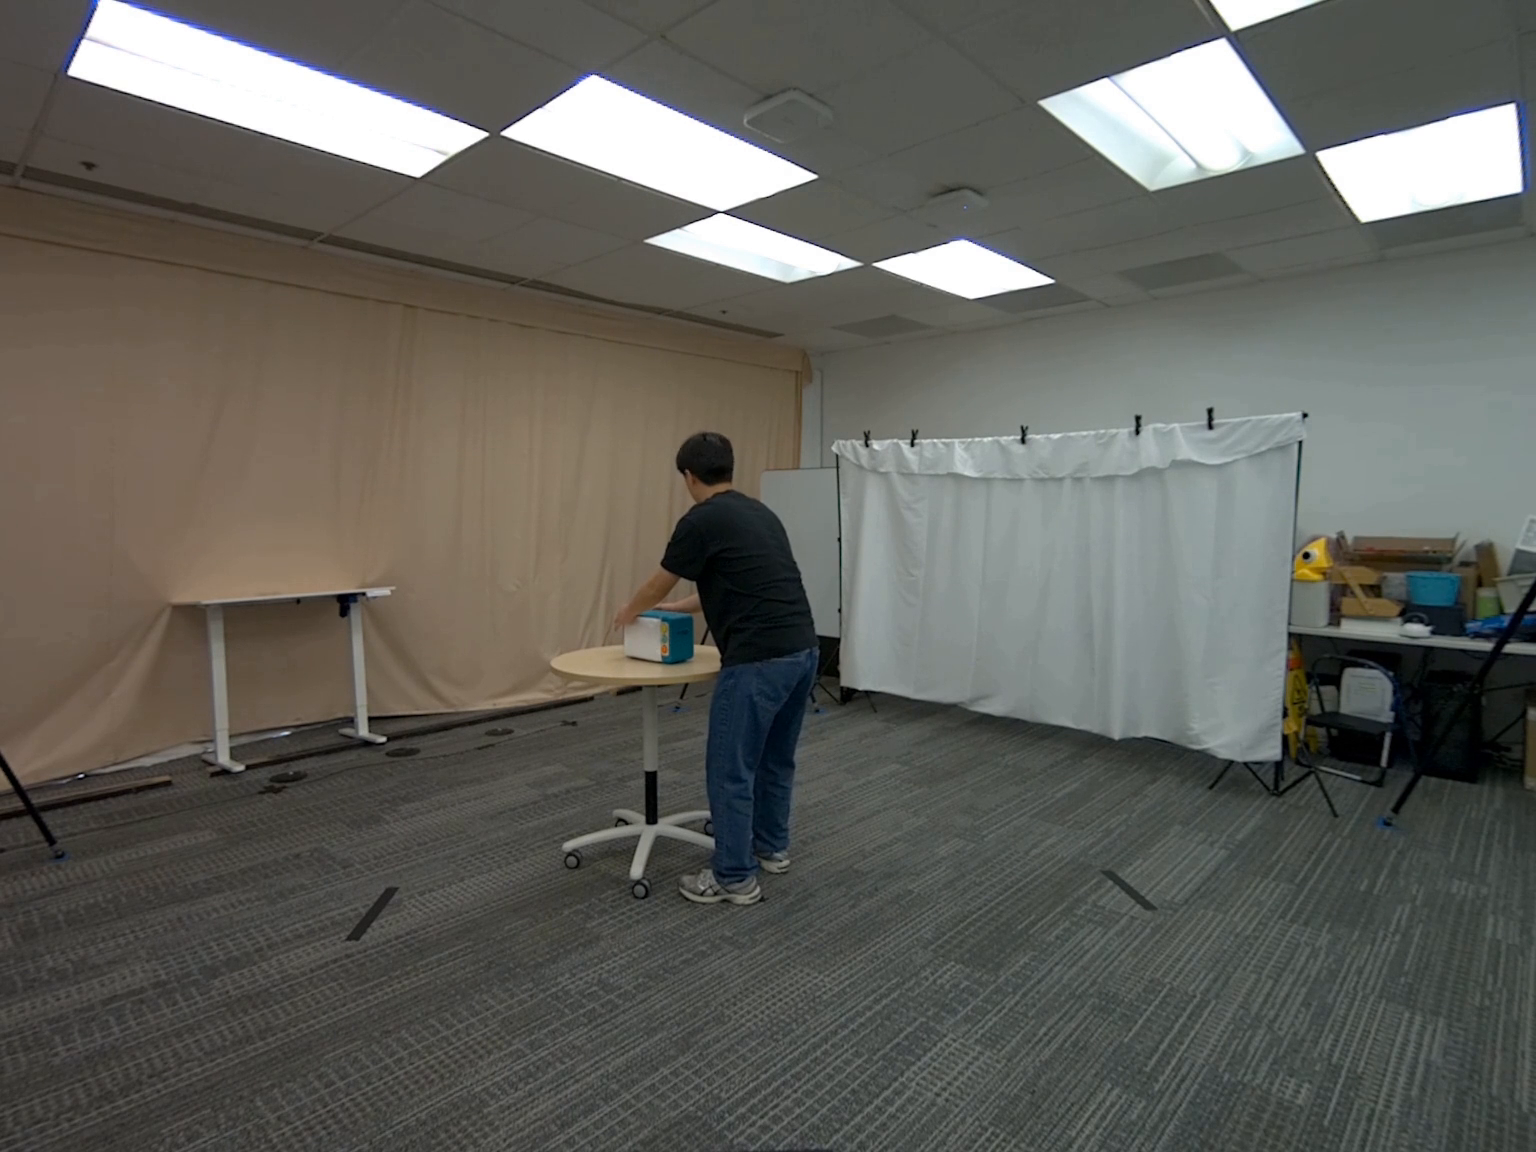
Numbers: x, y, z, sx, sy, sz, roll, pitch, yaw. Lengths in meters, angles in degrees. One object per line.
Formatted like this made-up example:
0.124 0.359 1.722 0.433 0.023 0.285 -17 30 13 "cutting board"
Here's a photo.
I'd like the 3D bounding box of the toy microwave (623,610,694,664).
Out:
-0.433 0.234 3.285 0.296 0.184 0.148 4 5 41 "toy microwave"
